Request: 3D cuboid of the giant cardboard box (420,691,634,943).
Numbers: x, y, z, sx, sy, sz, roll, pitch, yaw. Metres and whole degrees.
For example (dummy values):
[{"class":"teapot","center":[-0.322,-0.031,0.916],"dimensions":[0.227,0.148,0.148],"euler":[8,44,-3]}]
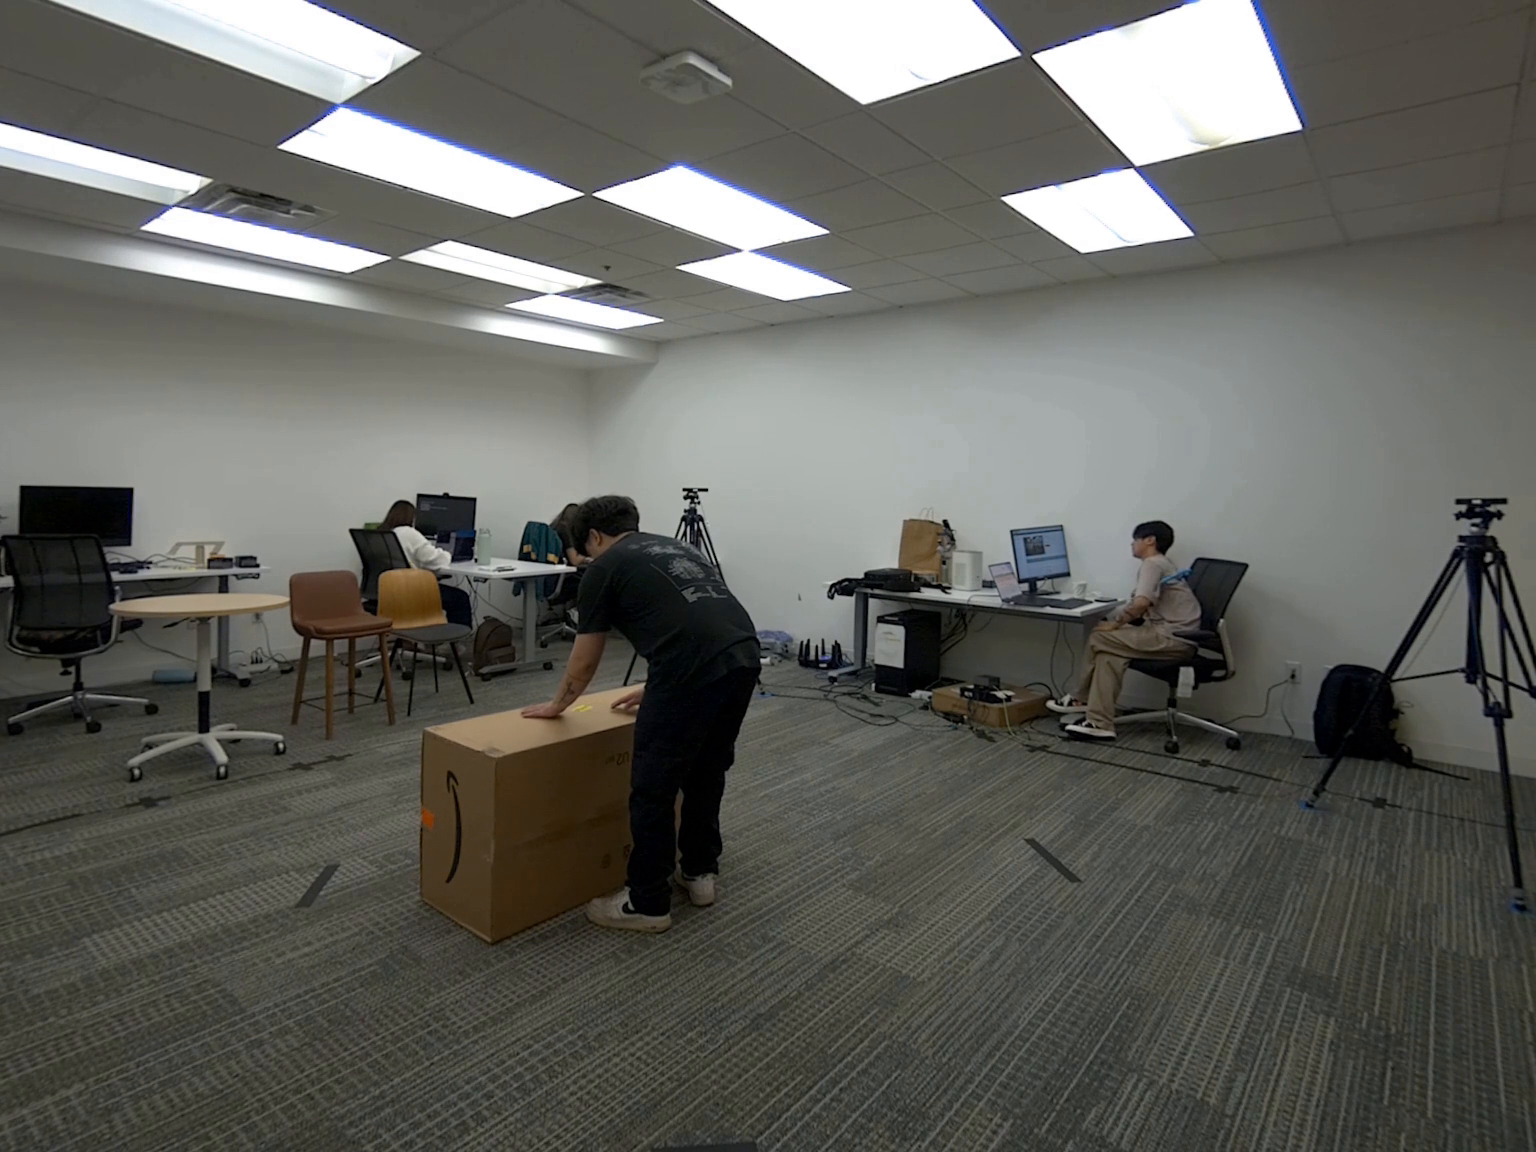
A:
[{"class":"giant cardboard box","center":[-0.689,0.781,3.071],"dimensions":[0.461,0.582,0.996],"euler":[3,4,39]}]
